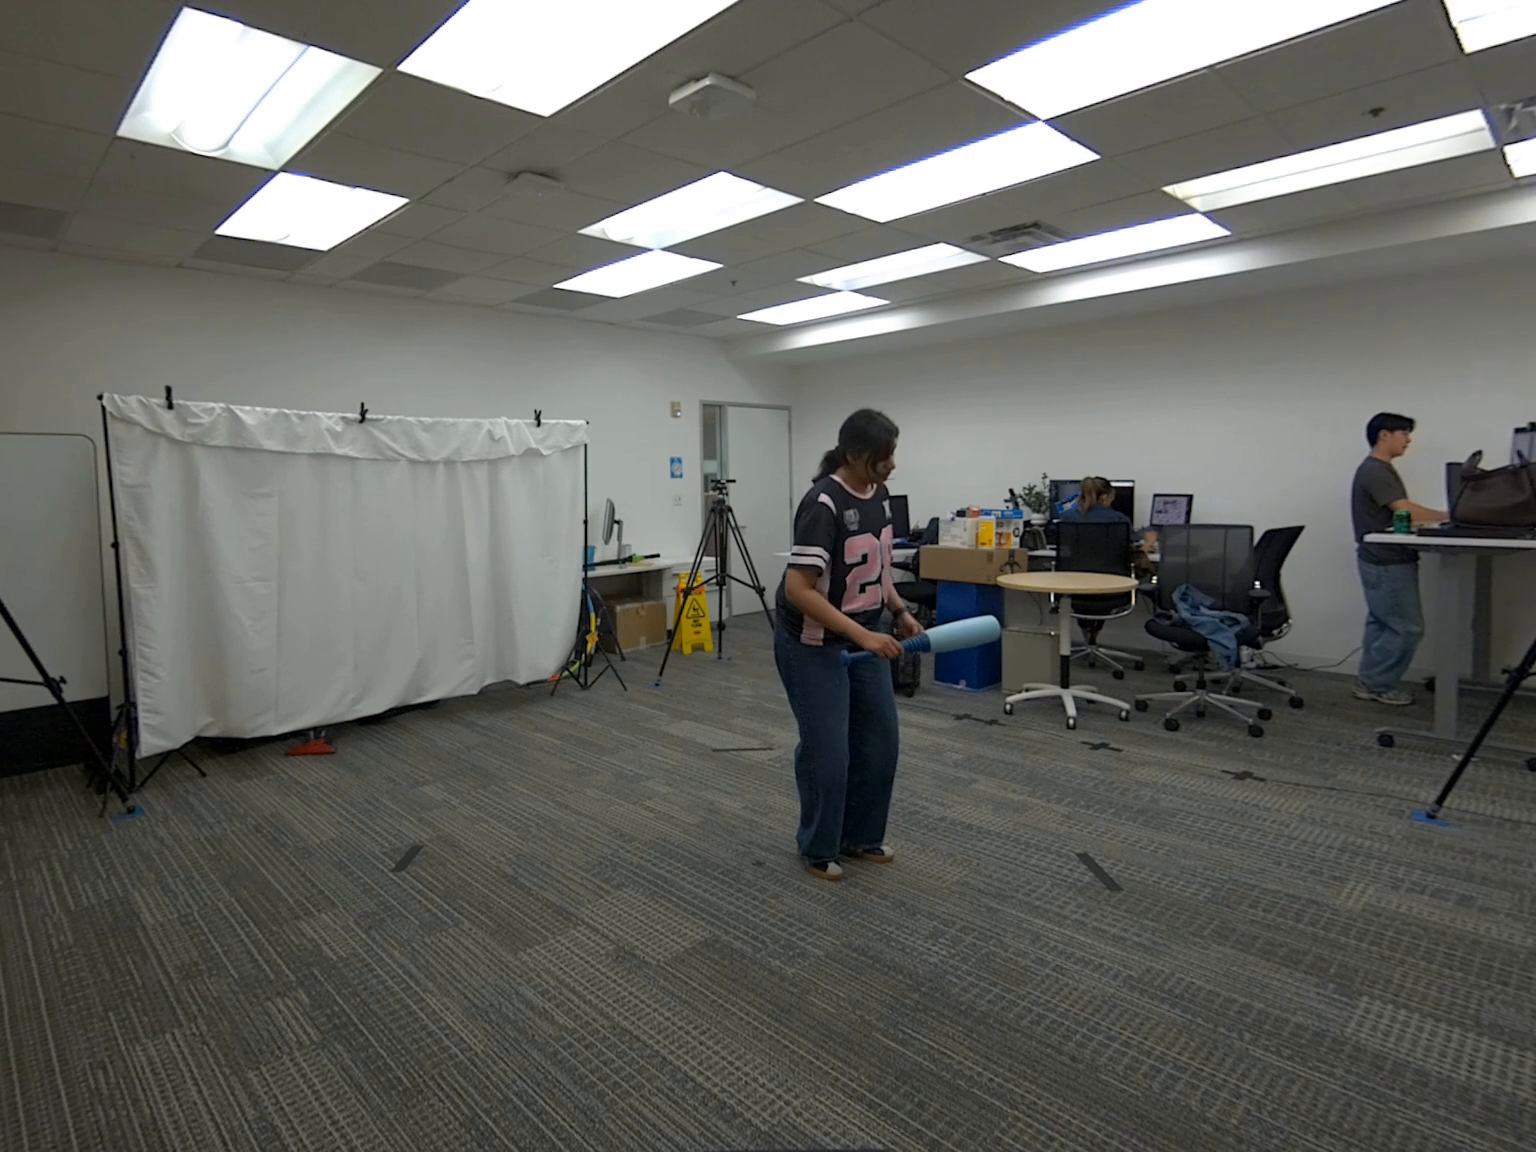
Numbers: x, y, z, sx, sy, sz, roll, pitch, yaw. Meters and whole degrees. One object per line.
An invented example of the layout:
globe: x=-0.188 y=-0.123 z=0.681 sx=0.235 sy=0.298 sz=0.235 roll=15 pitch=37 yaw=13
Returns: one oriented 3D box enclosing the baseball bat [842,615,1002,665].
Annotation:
baseball bat: x=0.482 y=0.225 z=2.775 sx=0.541 sy=0.088 sz=0.090 roll=-10 pitch=6 yaw=-5
